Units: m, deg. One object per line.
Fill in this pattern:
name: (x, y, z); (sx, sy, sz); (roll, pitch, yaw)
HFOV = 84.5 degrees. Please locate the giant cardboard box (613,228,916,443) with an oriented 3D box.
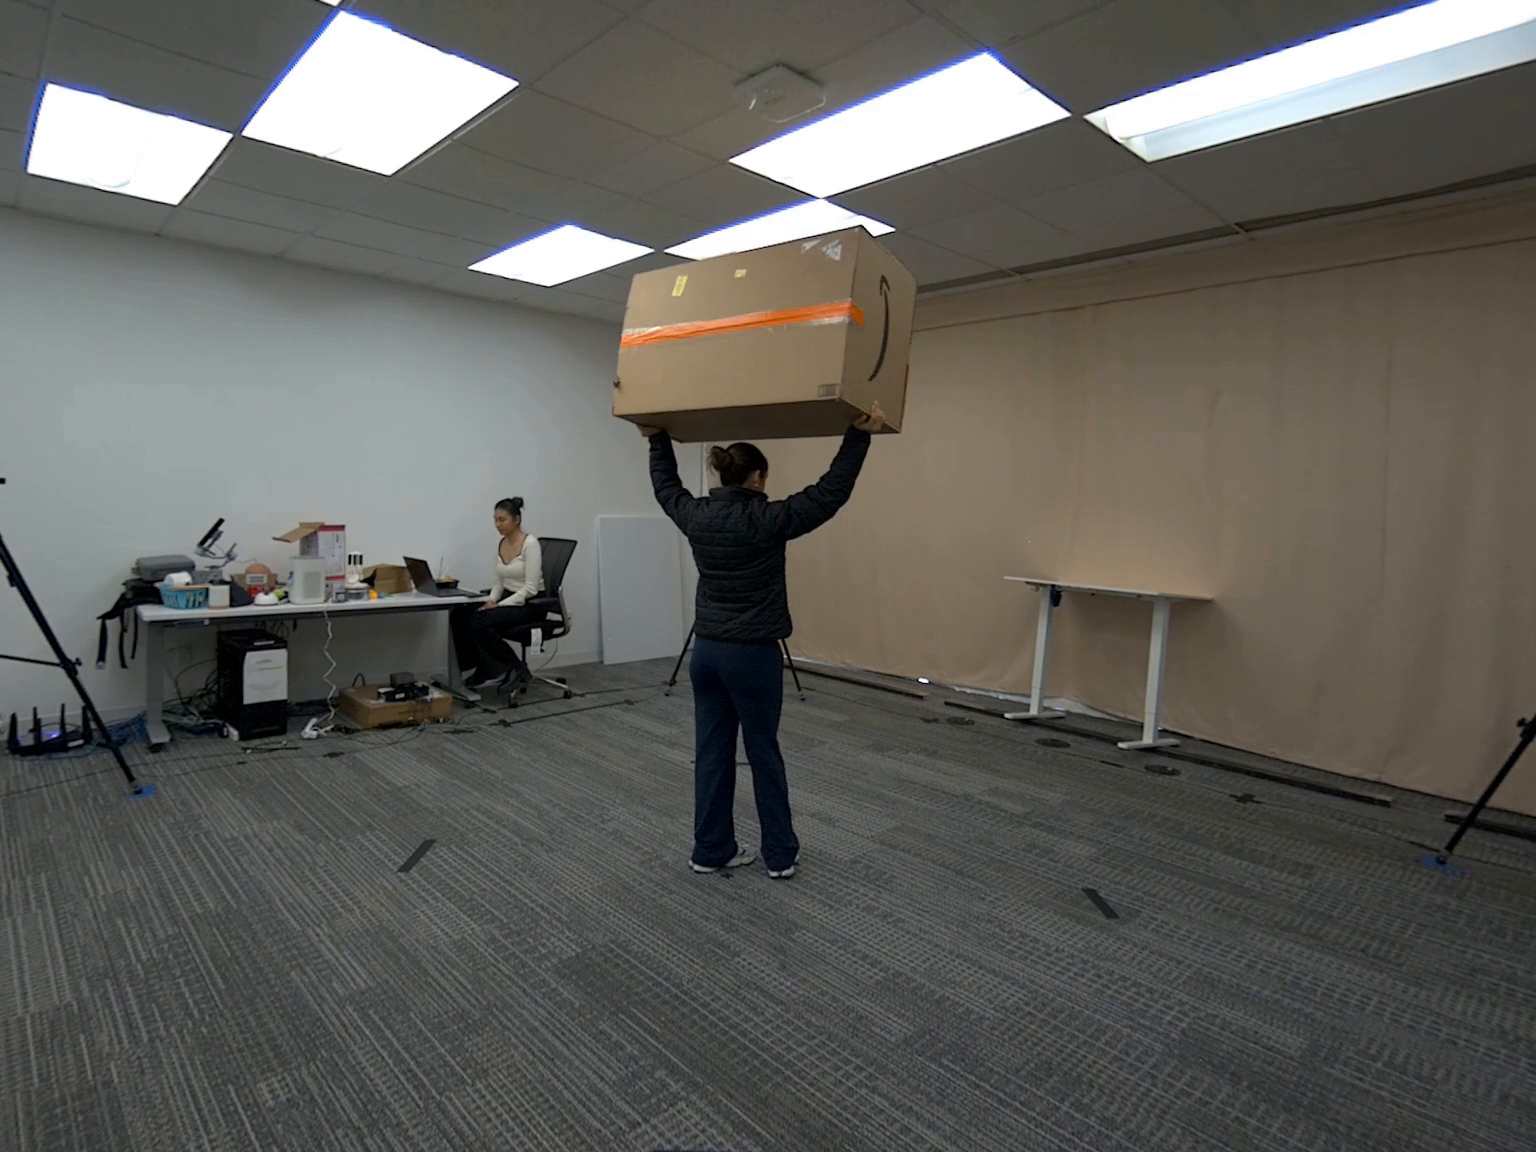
giant cardboard box: (-0.038, -0.830, 3.096); (1.052, 0.586, 0.434); (4, -6, 37)
